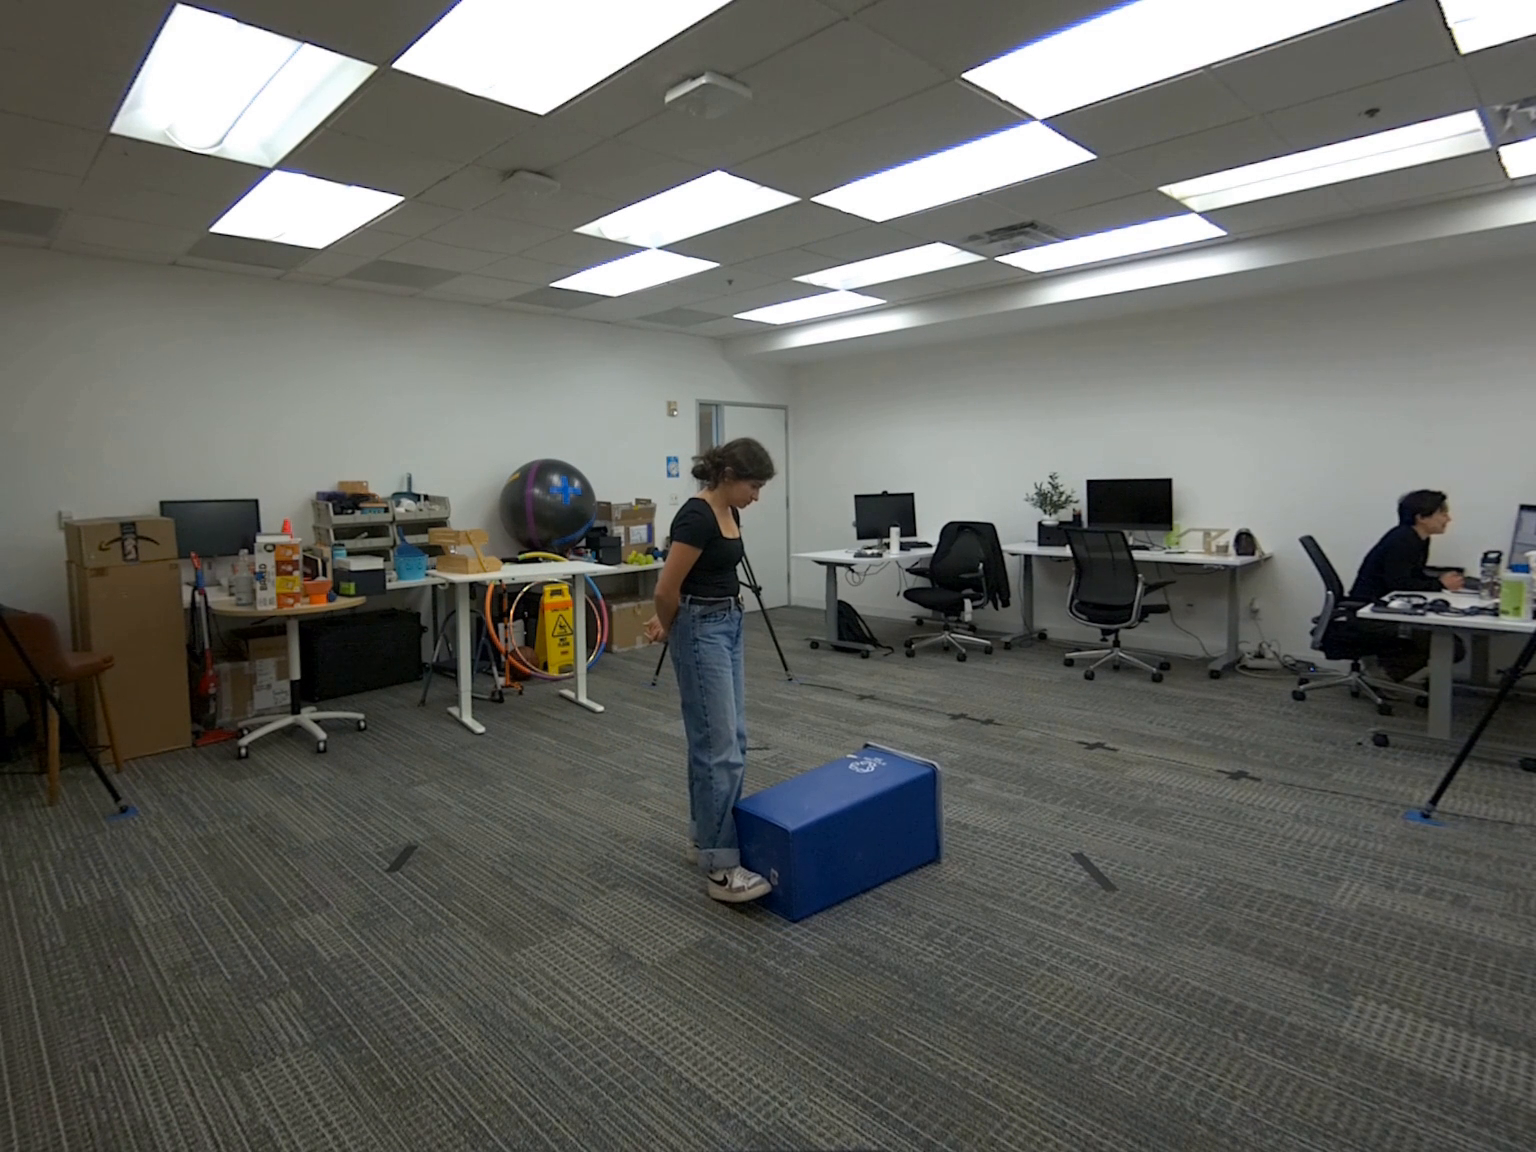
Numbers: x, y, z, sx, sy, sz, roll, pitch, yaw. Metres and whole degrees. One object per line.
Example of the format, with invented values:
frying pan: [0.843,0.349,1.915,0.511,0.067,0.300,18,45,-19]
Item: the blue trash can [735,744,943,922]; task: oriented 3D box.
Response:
blue trash can: [0.246,0.885,2.989,0.696,0.376,0.385,-10,9,-40]
